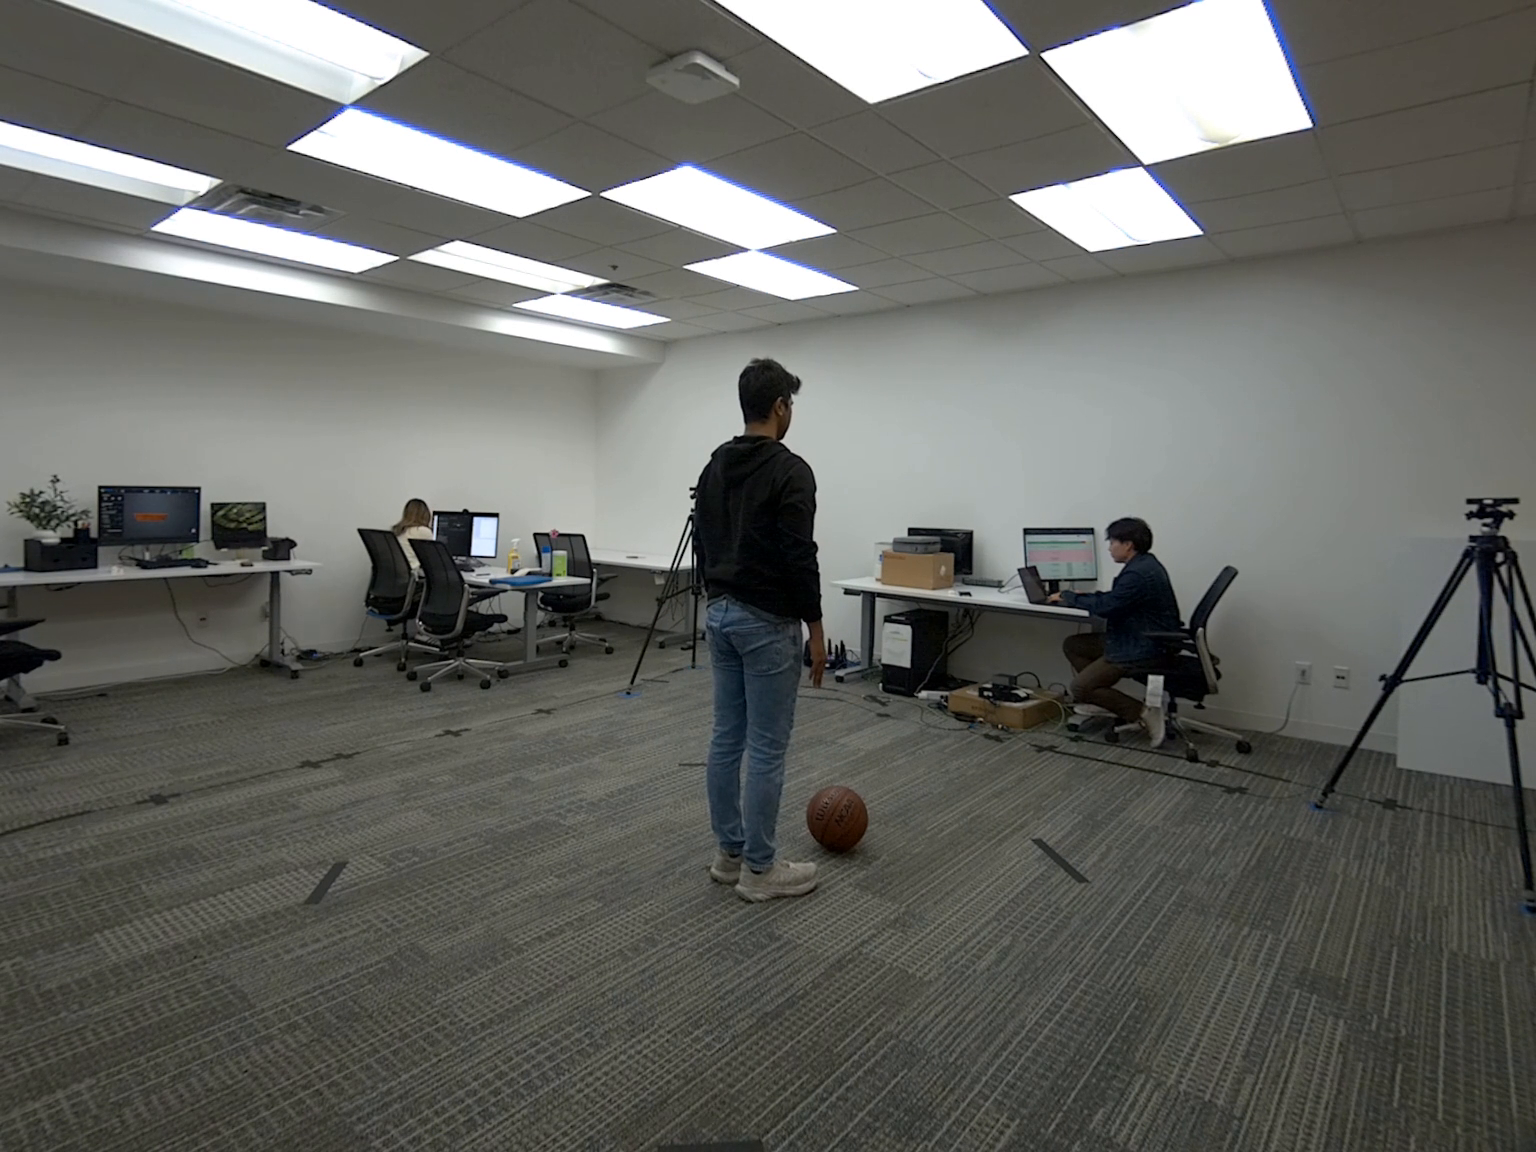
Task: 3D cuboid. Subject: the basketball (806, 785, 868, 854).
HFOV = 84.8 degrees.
[{"bbox_3d":[0.264,0.935,3.312,0.235,0.235,0.237,1,4,-2],"label":"basketball"}]
